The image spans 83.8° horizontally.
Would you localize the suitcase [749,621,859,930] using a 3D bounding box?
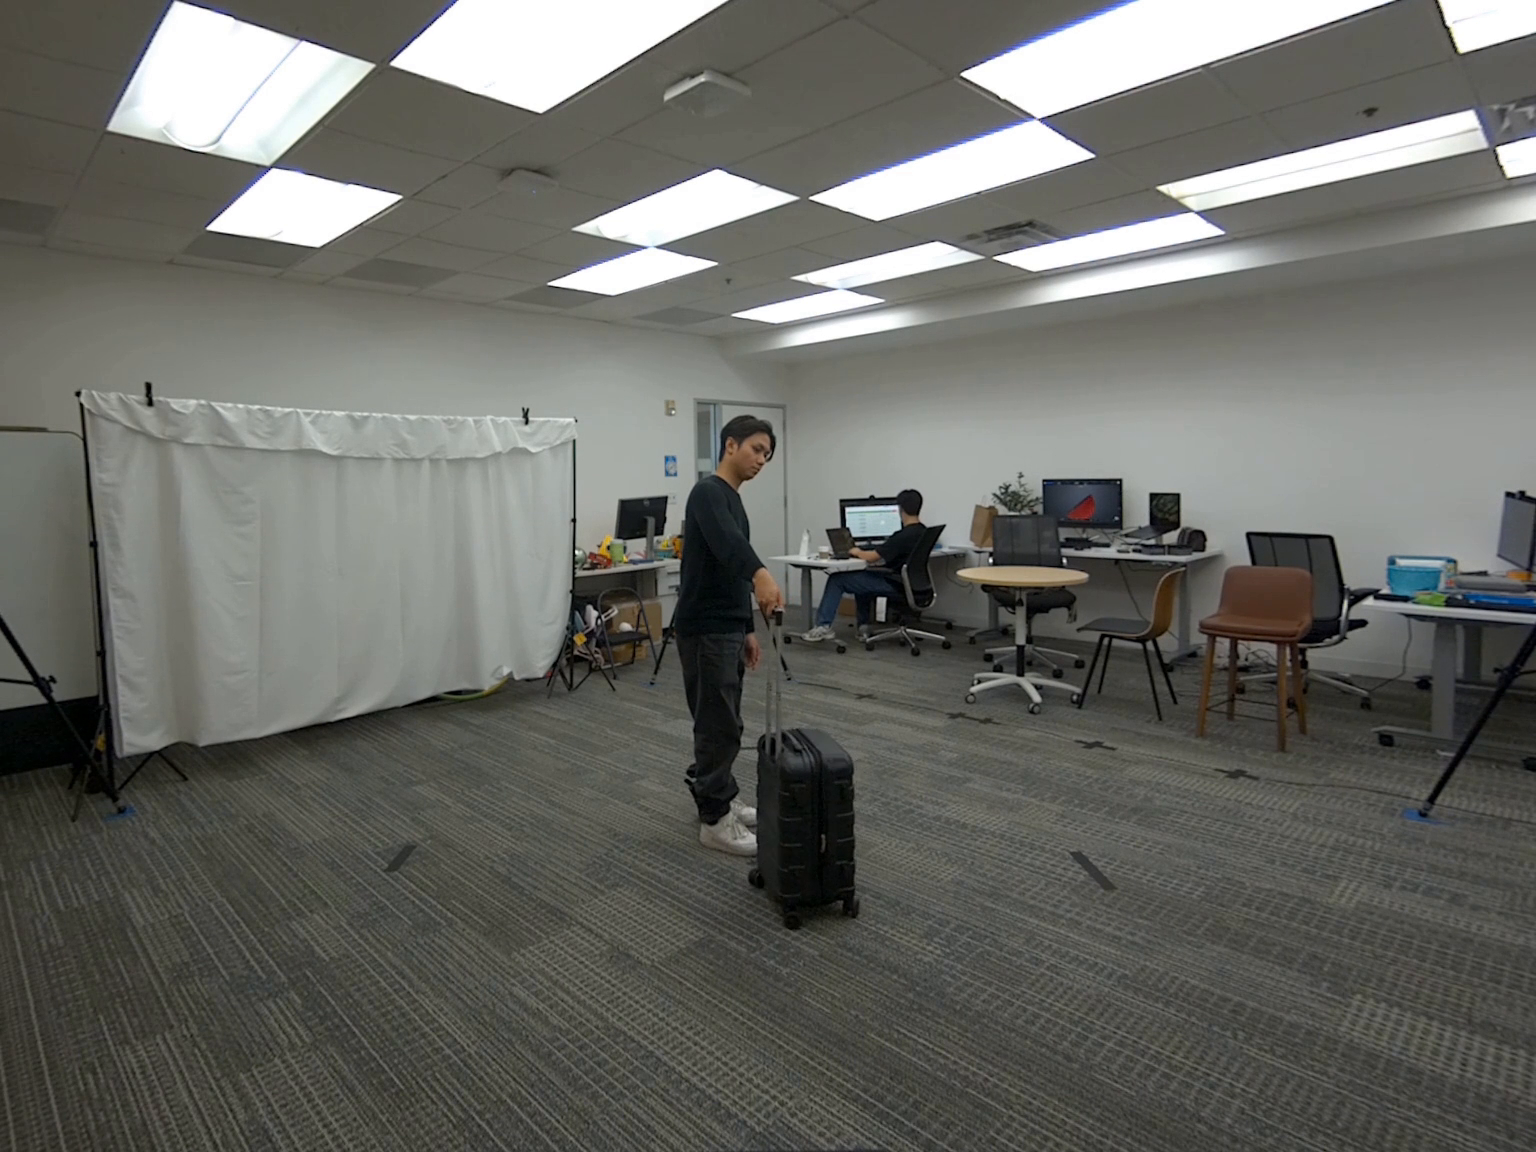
[{"bbox_3d":[0.125,0.600,2.798,0.254,0.975,0.390,0,4,-14],"label":"suitcase"}]
